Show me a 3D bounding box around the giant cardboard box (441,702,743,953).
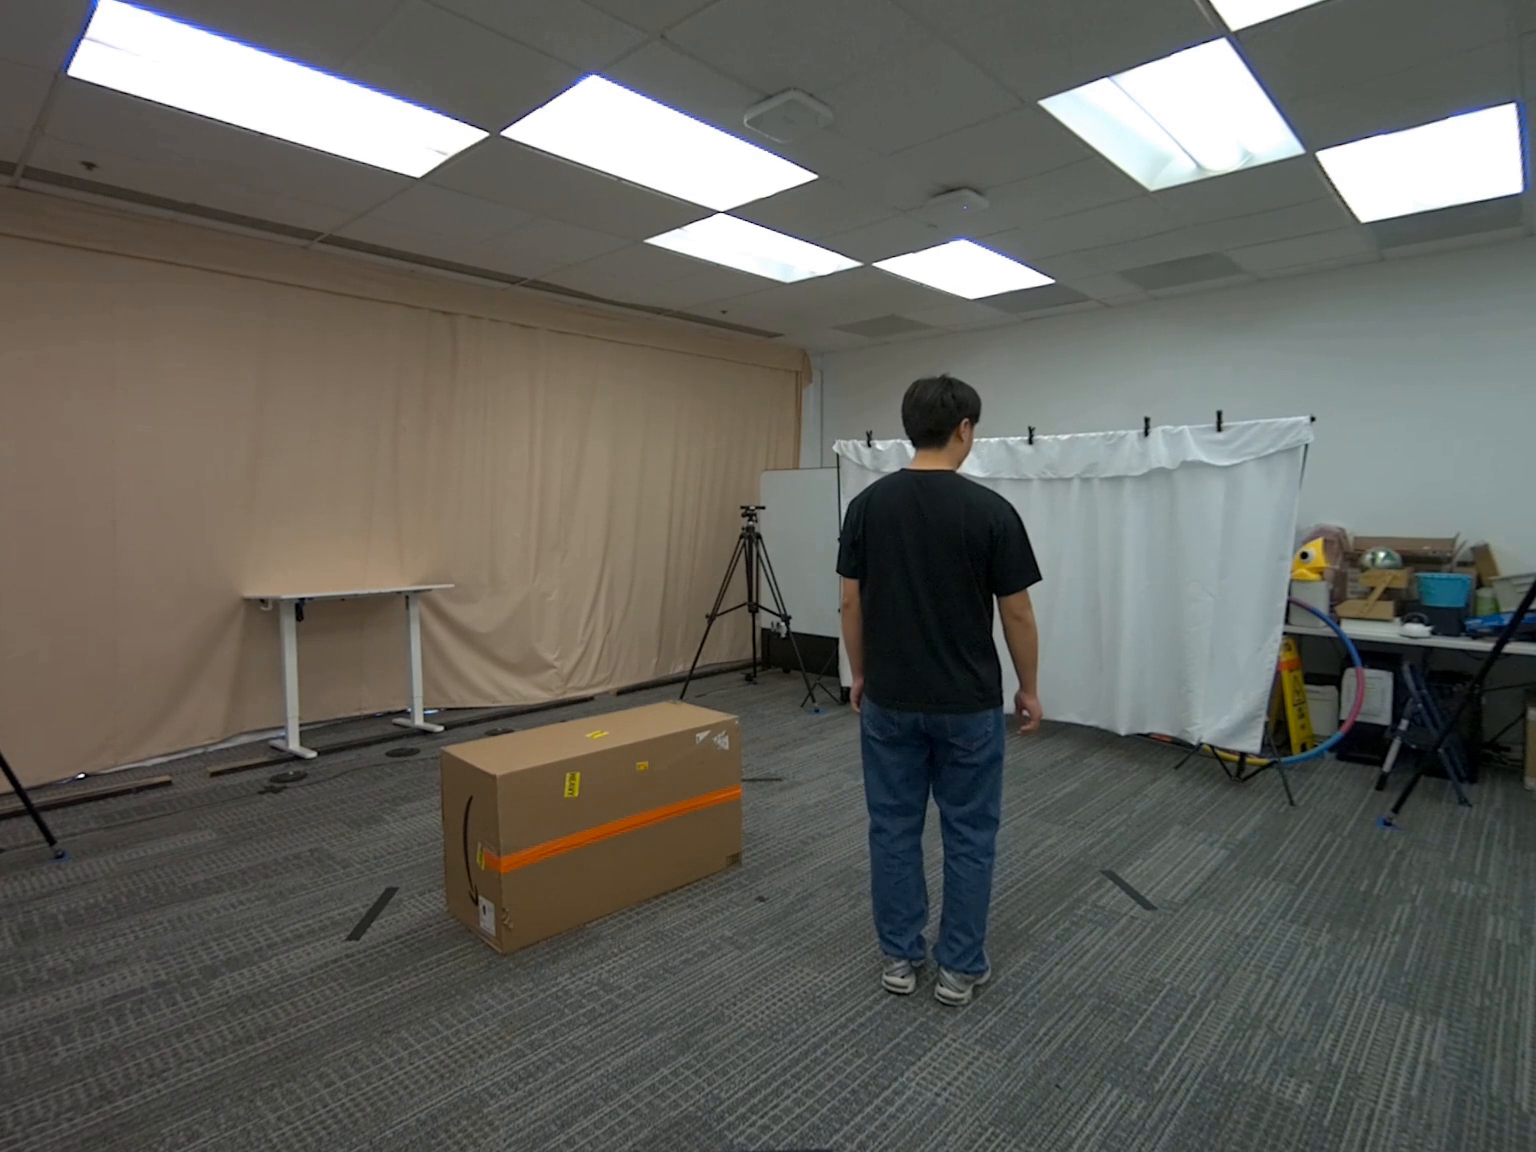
[{"bbox_3d":[-0.613,0.855,3.084,0.996,0.582,0.462,-5,6,-43],"label":"giant cardboard box"}]
